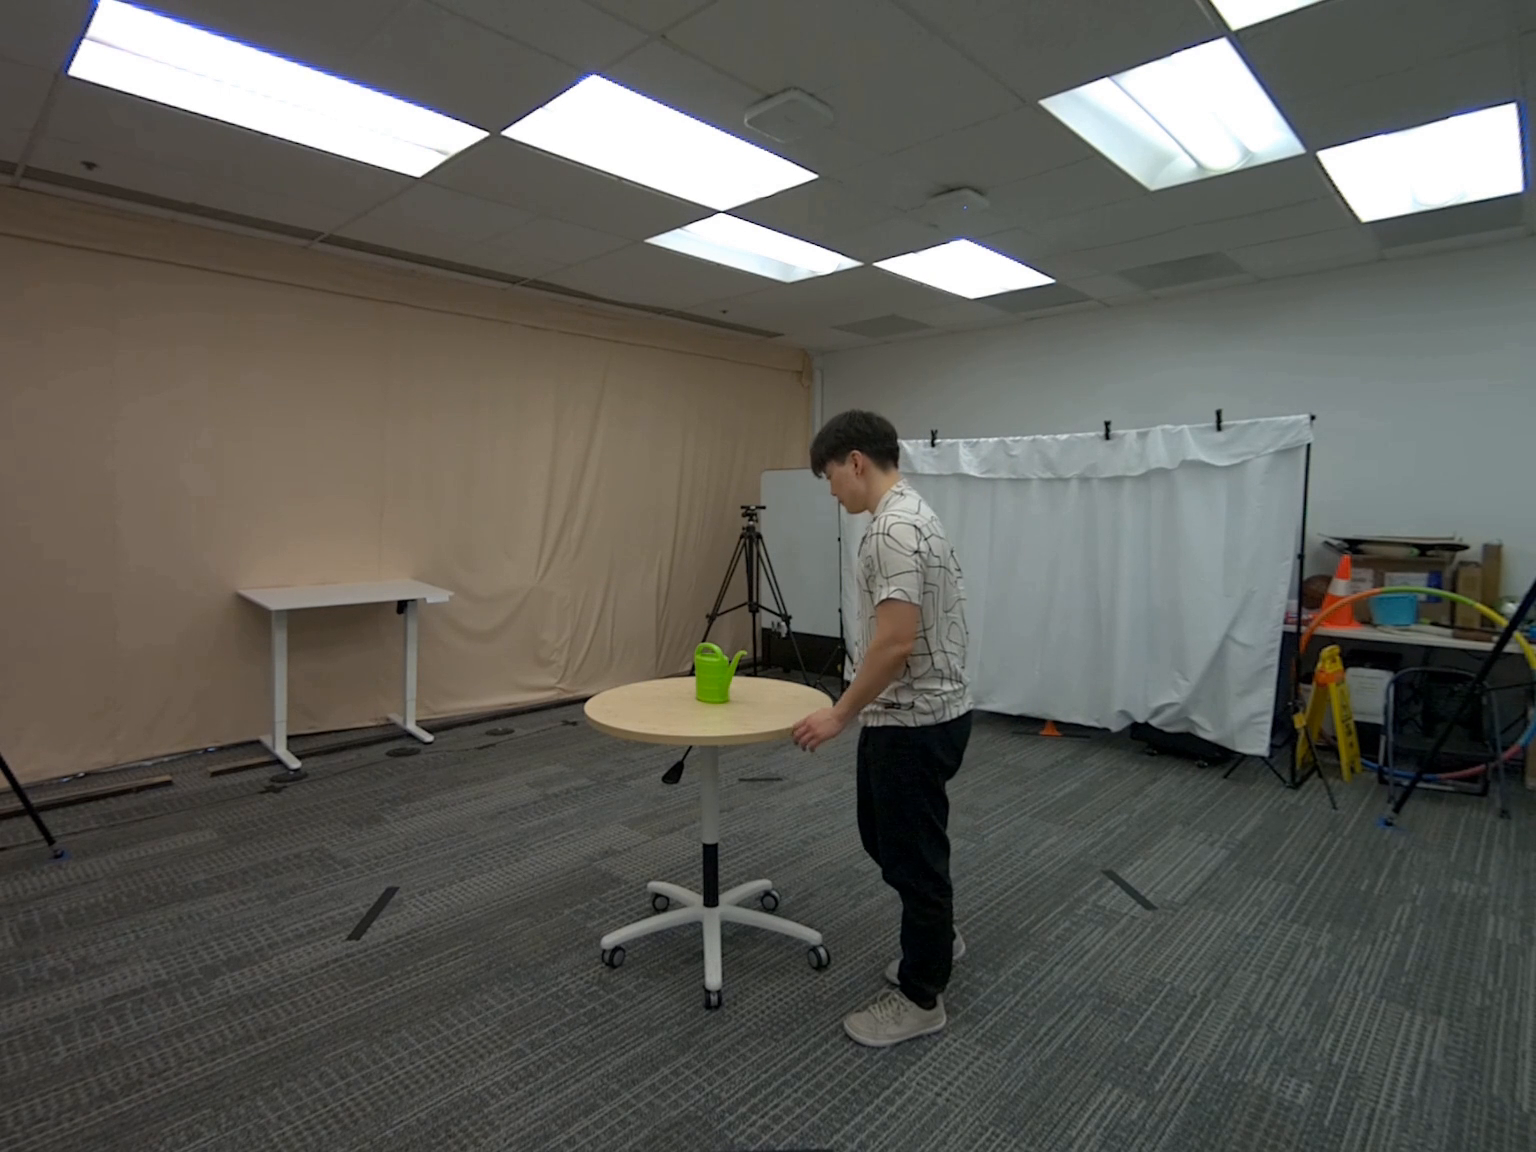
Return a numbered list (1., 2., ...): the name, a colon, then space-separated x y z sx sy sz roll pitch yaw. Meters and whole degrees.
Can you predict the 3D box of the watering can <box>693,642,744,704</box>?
1. watering can: -0.156 0.302 2.600 0.096 0.176 0.283 -1 3 -17
